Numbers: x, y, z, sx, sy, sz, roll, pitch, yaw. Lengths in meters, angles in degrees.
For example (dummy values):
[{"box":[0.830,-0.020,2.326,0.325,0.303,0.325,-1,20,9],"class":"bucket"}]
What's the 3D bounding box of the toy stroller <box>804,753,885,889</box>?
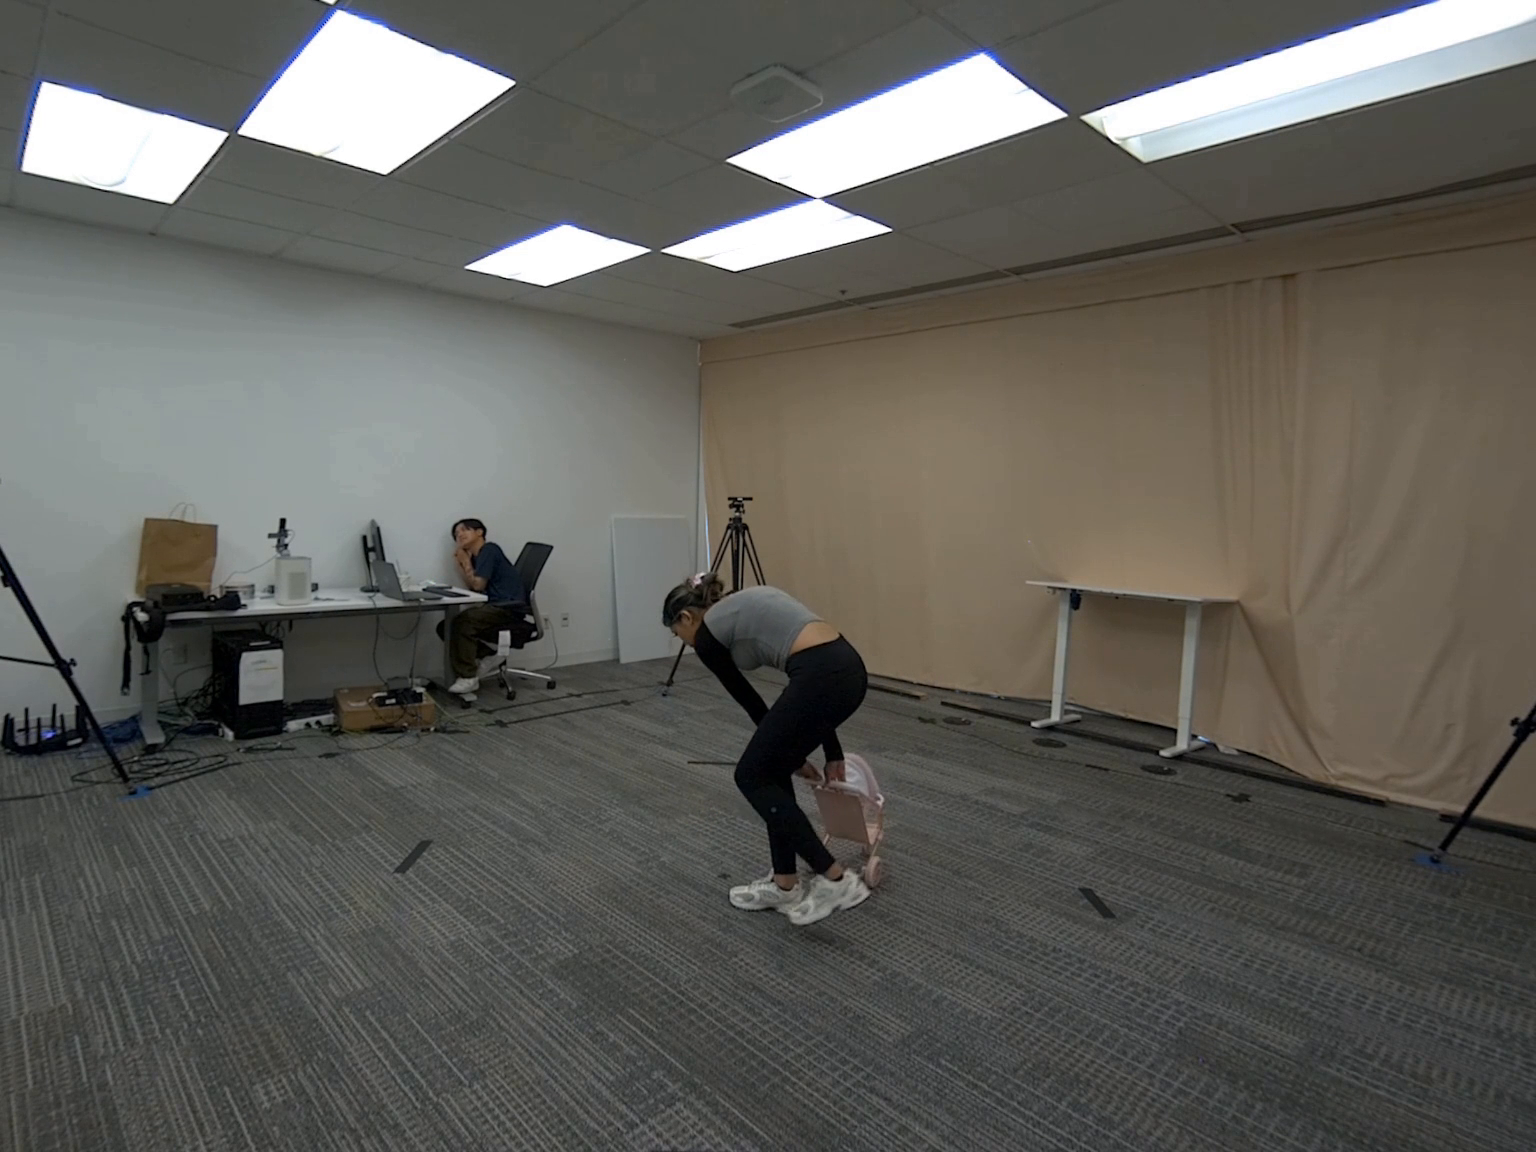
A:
[{"box":[0.301,0.890,3.136,0.288,0.527,0.338,5,23,32],"class":"toy stroller"}]
